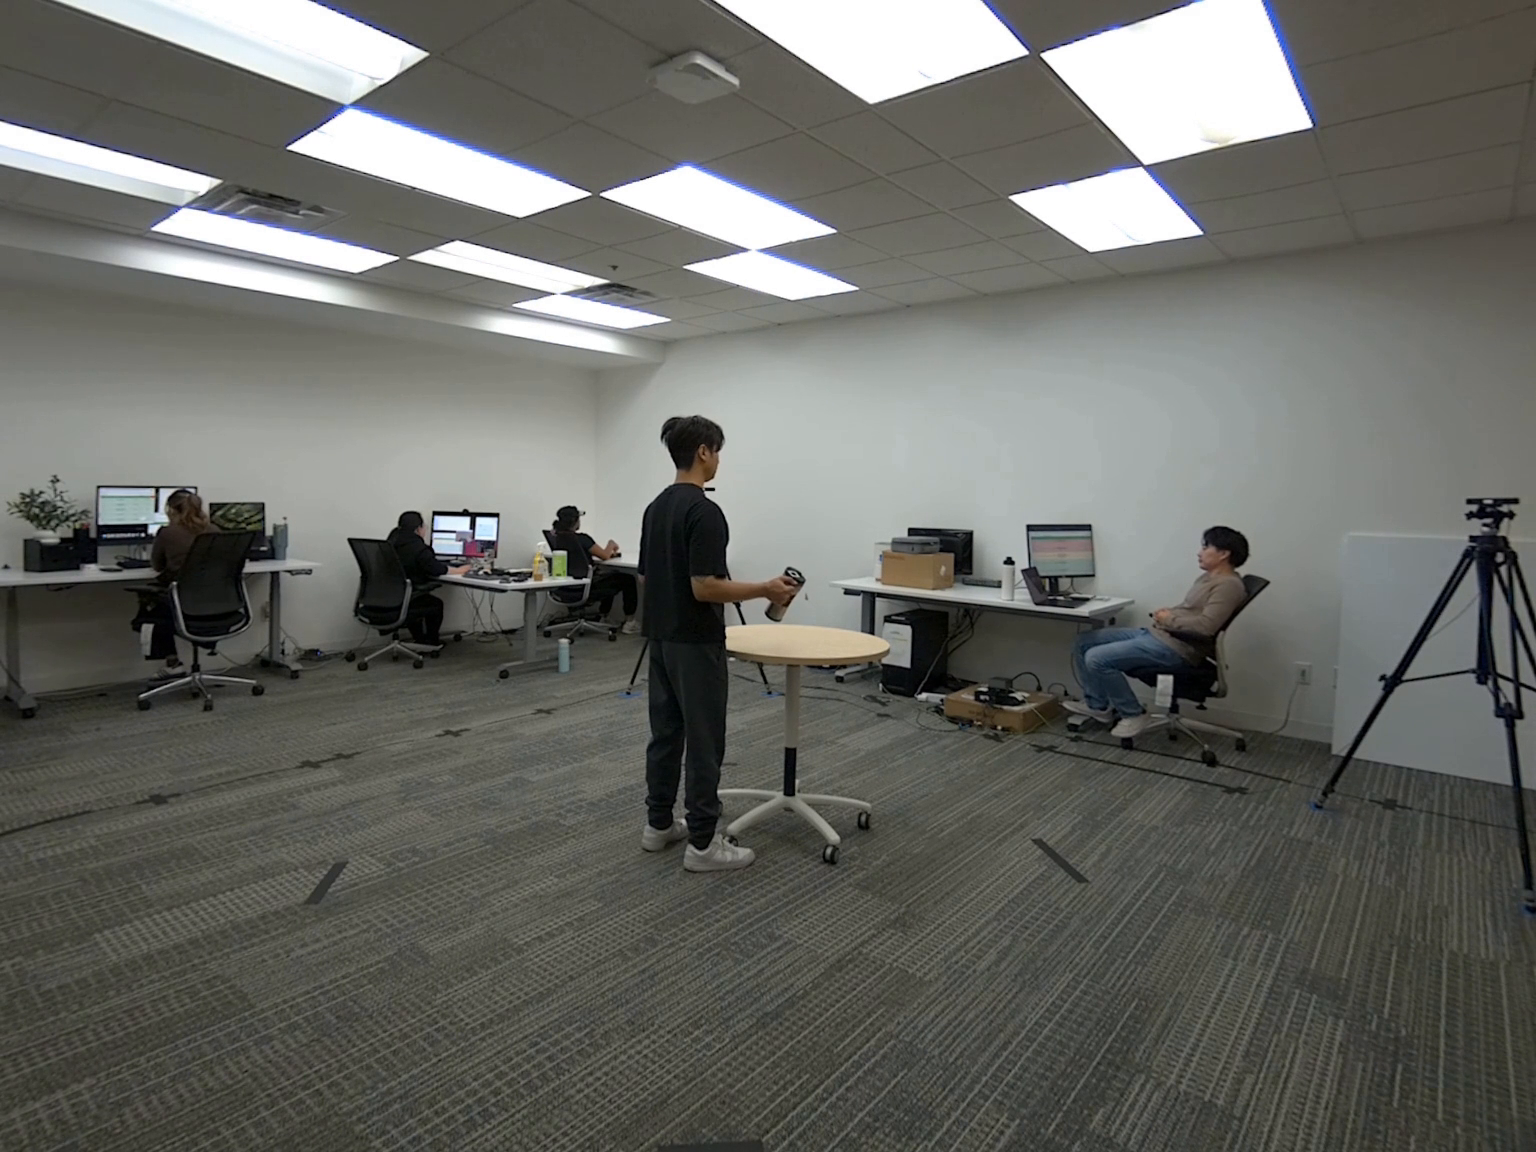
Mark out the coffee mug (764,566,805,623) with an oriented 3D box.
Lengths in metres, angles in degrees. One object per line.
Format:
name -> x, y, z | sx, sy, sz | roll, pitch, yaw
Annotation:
coffee mug -> 0.037, 0.066, 3.156 | 0.091, 0.202, 0.119 | 39, 21, 23
